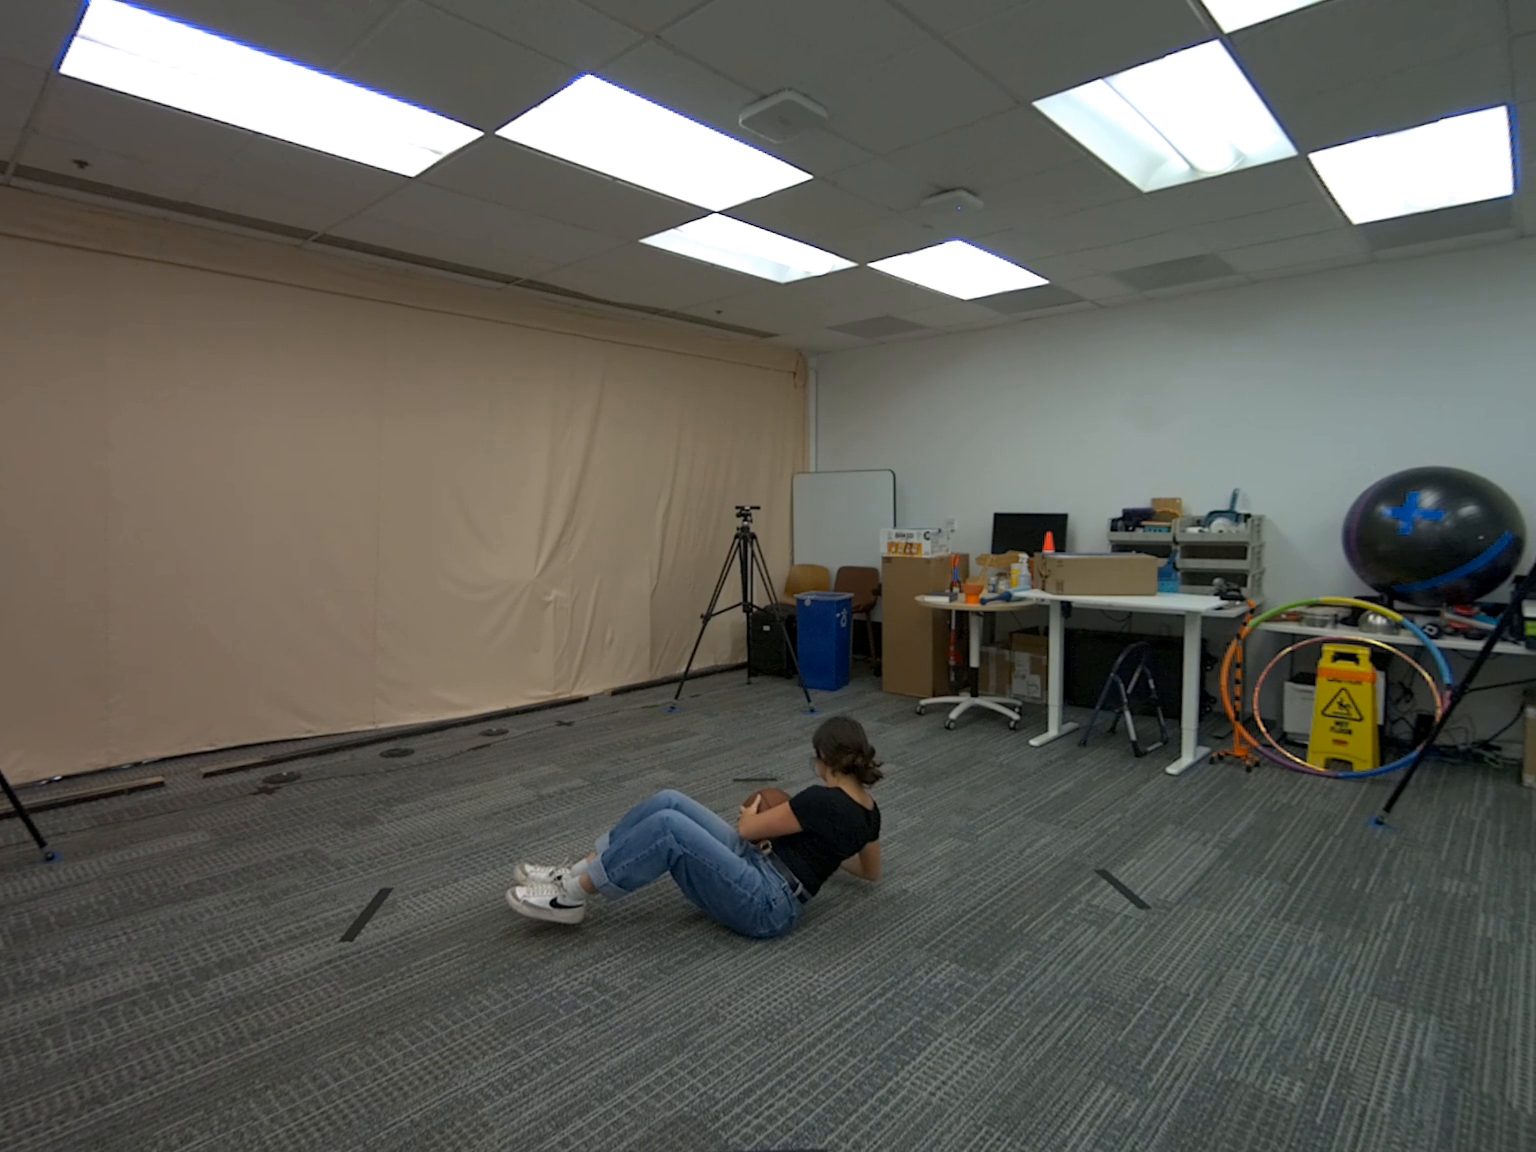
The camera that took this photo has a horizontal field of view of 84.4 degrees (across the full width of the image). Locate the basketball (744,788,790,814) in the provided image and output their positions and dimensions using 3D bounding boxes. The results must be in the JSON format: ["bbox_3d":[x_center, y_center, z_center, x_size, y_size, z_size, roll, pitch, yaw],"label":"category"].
[{"bbox_3d":[0.009,0.922,3.197,0.236,0.235,0.237,0,4,-2],"label":"basketball"}]
